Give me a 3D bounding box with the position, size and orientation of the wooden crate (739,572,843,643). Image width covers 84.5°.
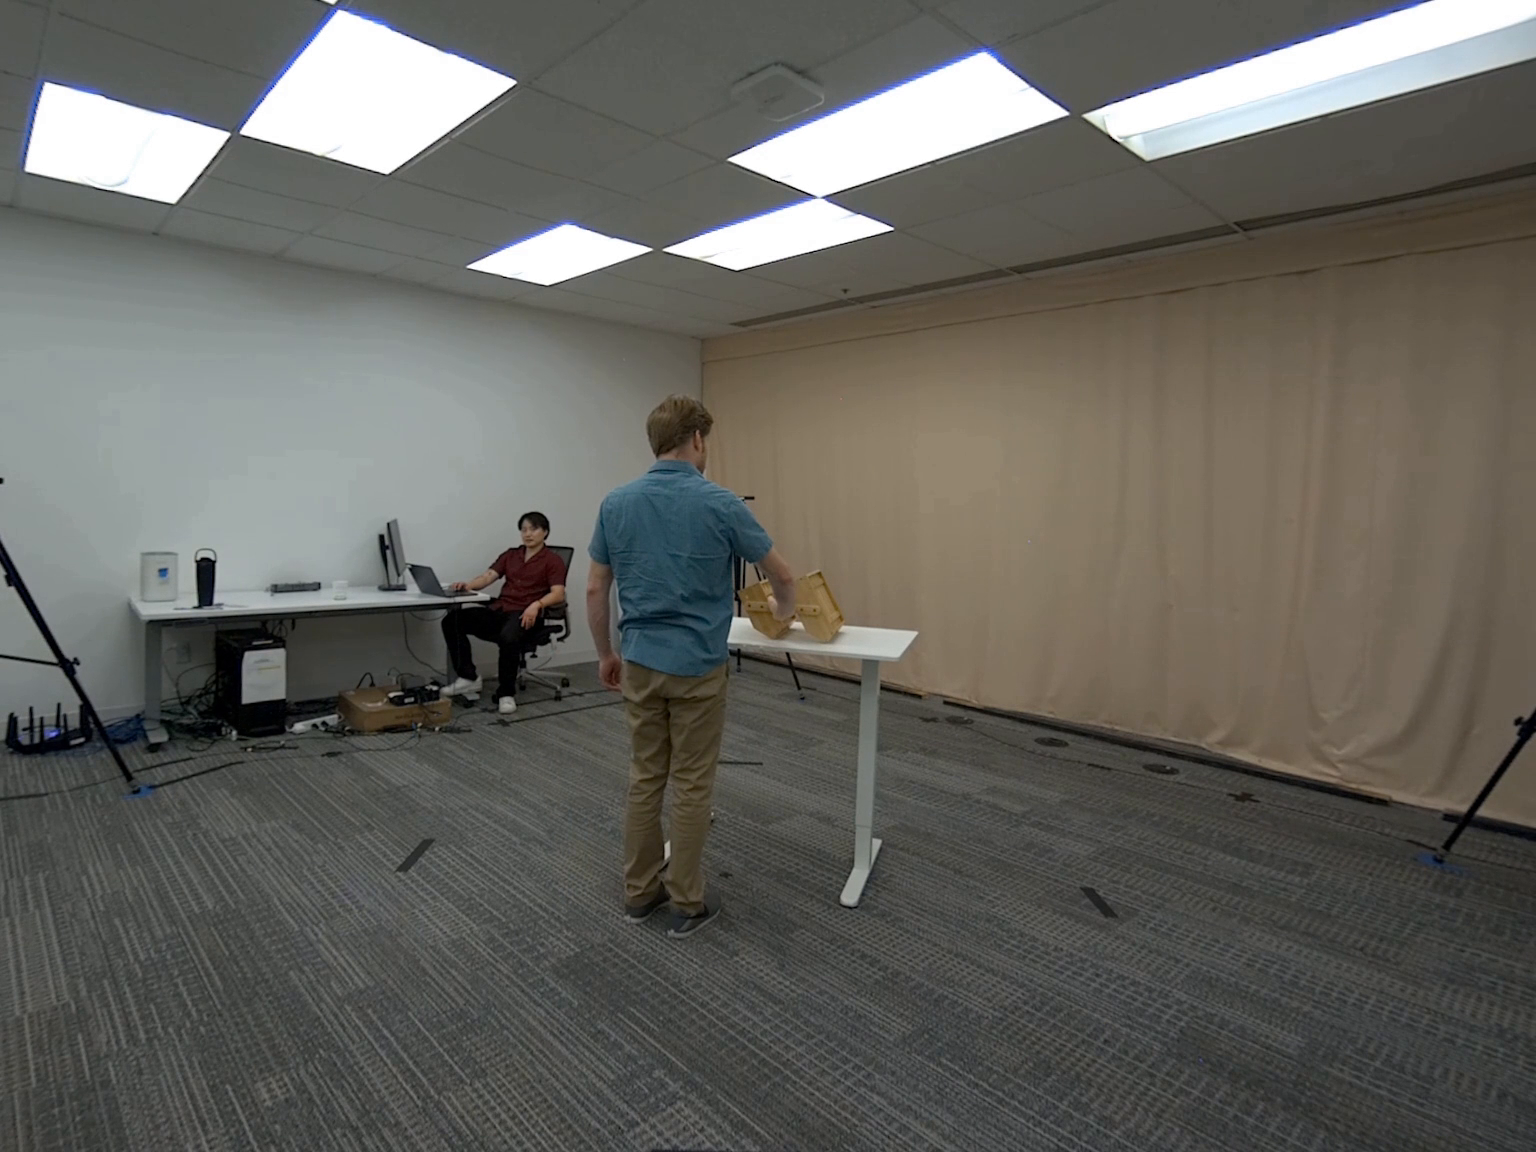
[{"bbox_3d":[0.085,0.129,3.171,0.275,0.303,0.321,-25,-2,15],"label":"wooden crate"}]
